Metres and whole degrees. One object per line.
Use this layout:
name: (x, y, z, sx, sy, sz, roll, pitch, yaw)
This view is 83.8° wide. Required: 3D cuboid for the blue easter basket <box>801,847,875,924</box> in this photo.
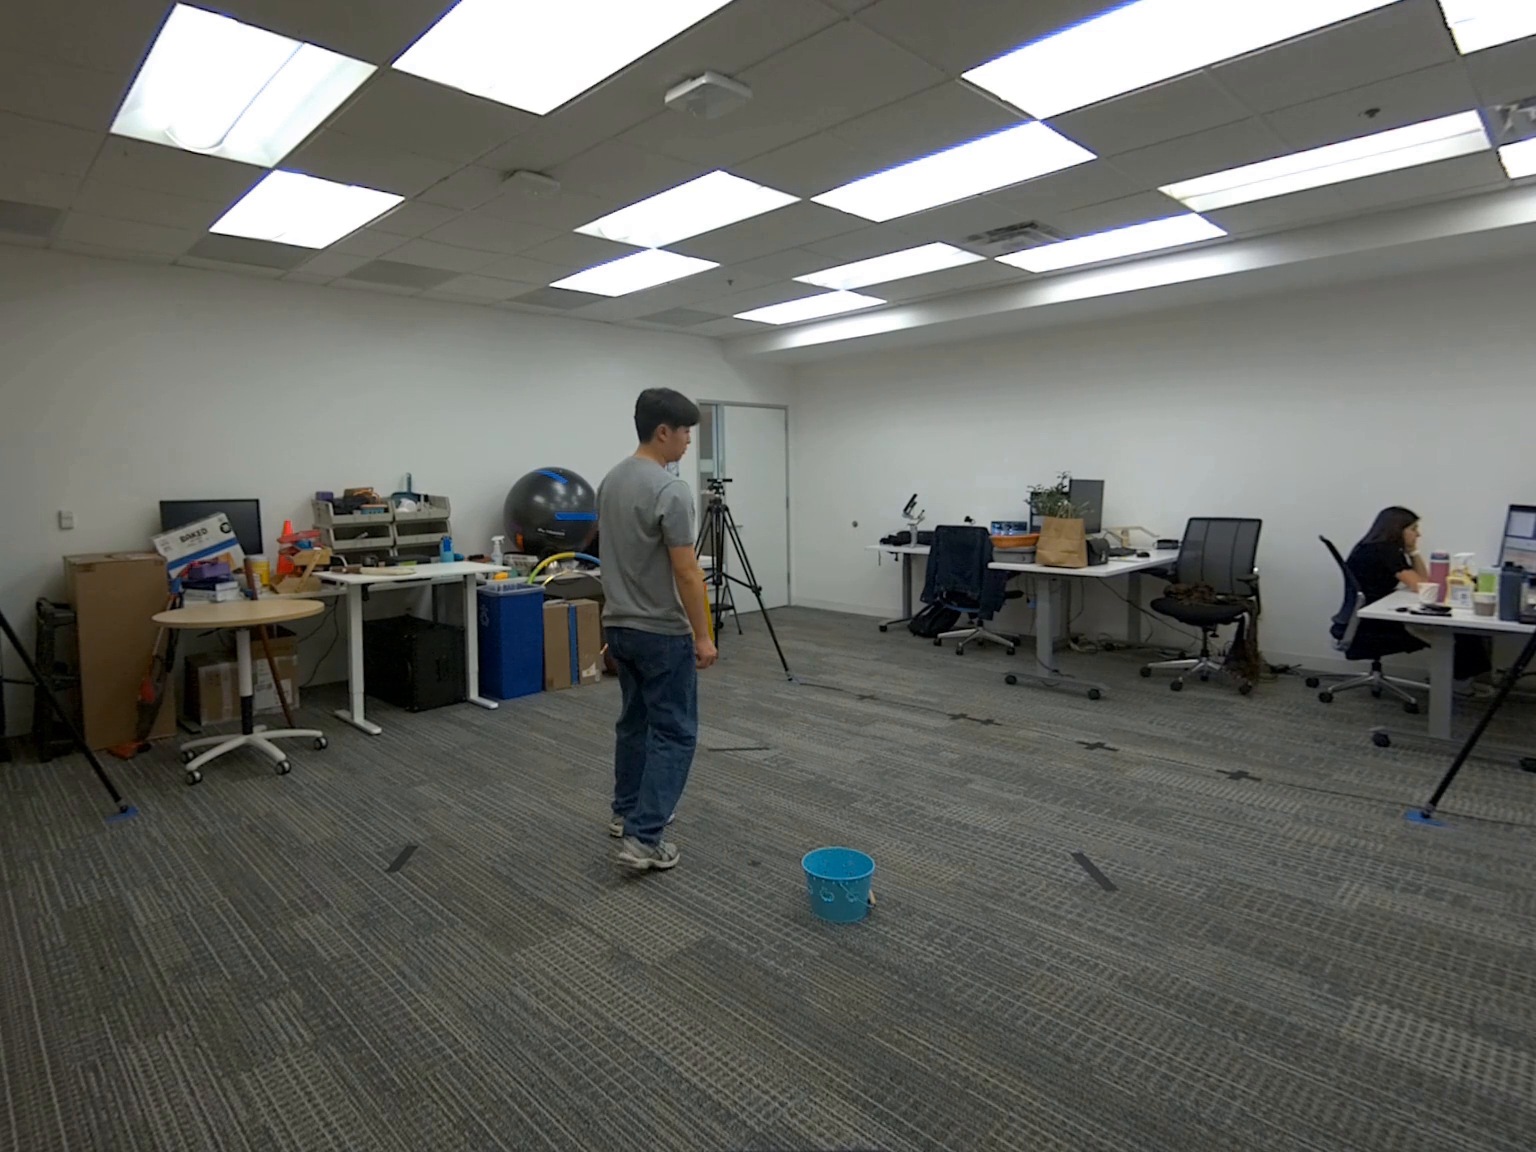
blue easter basket: (0.237, 1.002, 2.761, 0.243, 0.155, 0.245, -2, 5, -2)
